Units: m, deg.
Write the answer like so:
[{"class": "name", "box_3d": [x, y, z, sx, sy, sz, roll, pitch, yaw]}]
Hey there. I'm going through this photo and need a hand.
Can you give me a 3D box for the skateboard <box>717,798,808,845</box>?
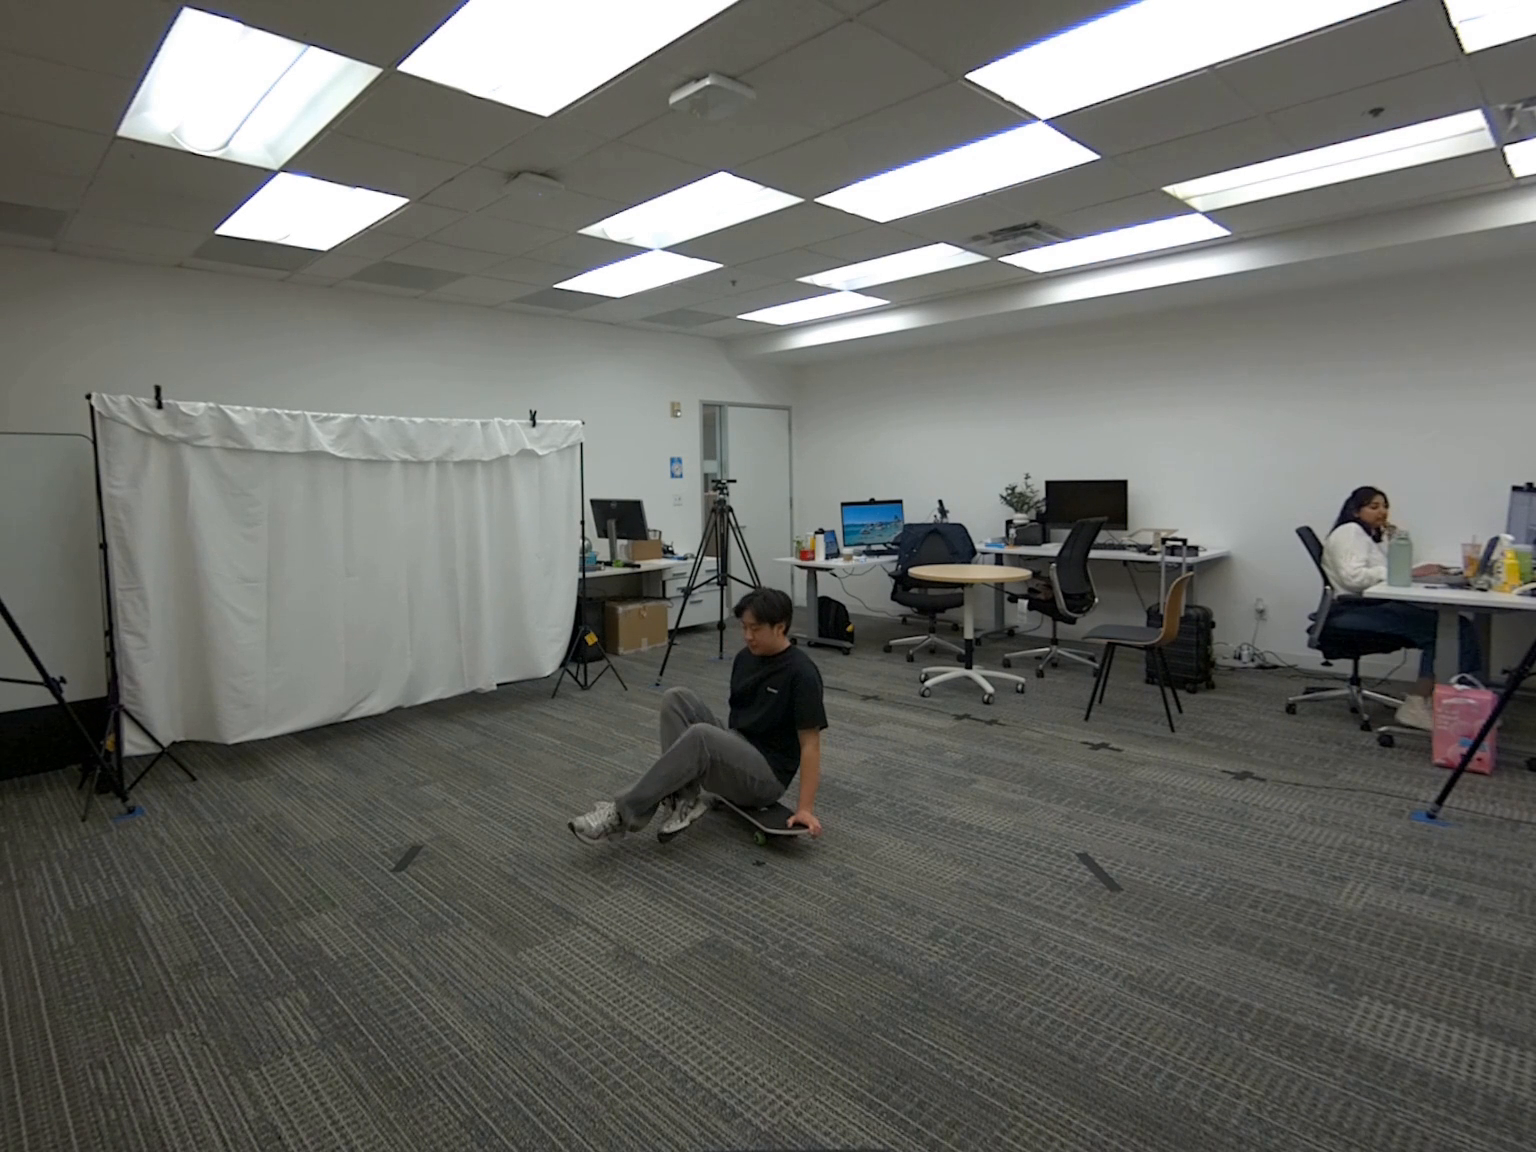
[{"class": "skateboard", "box_3d": [-0.071, 0.956, 3.489, 0.189, 0.110, 0.807, -1, 6, -29]}]
